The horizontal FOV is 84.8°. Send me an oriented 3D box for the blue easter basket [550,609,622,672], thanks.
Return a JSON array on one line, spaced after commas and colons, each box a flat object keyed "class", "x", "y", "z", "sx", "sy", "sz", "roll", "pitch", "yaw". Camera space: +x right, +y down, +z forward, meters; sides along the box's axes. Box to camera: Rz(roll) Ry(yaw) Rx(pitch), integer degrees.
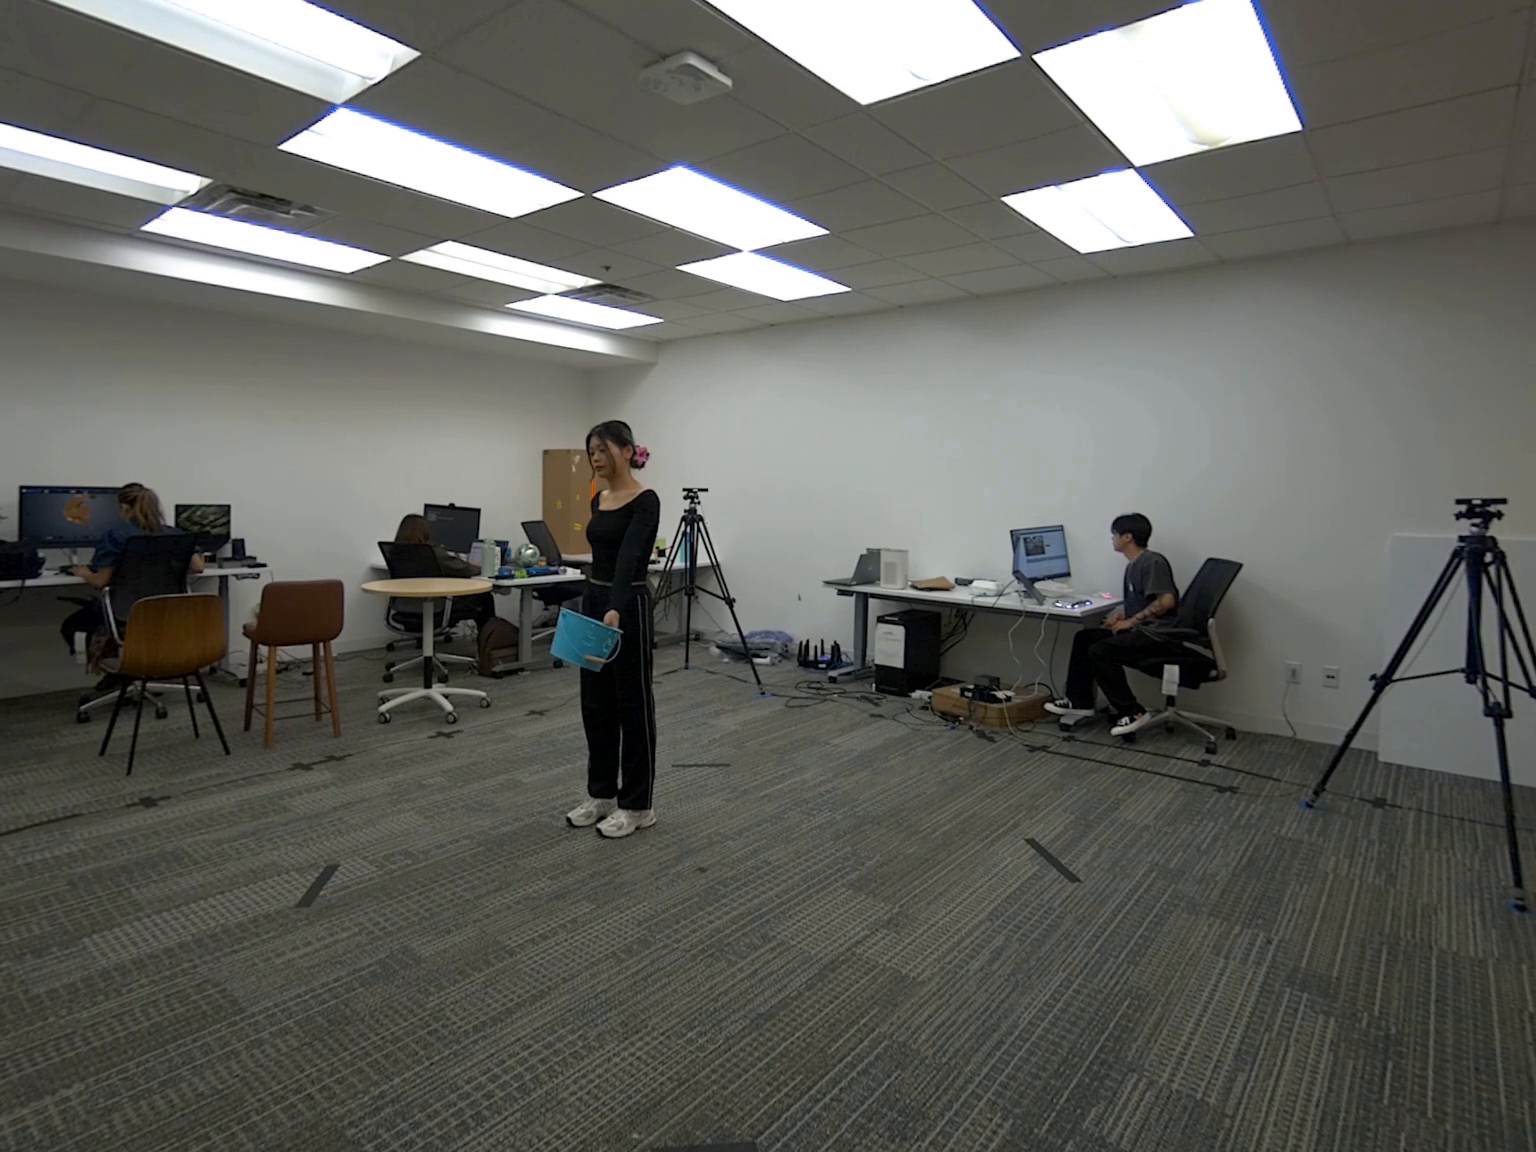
[{"class": "blue easter basket", "x": -0.637, "y": 0.213, "z": 2.885, "sx": 0.244, "sy": 0.156, "sz": 0.242, "roll": 20, "pitch": -6, "yaw": 1}]
